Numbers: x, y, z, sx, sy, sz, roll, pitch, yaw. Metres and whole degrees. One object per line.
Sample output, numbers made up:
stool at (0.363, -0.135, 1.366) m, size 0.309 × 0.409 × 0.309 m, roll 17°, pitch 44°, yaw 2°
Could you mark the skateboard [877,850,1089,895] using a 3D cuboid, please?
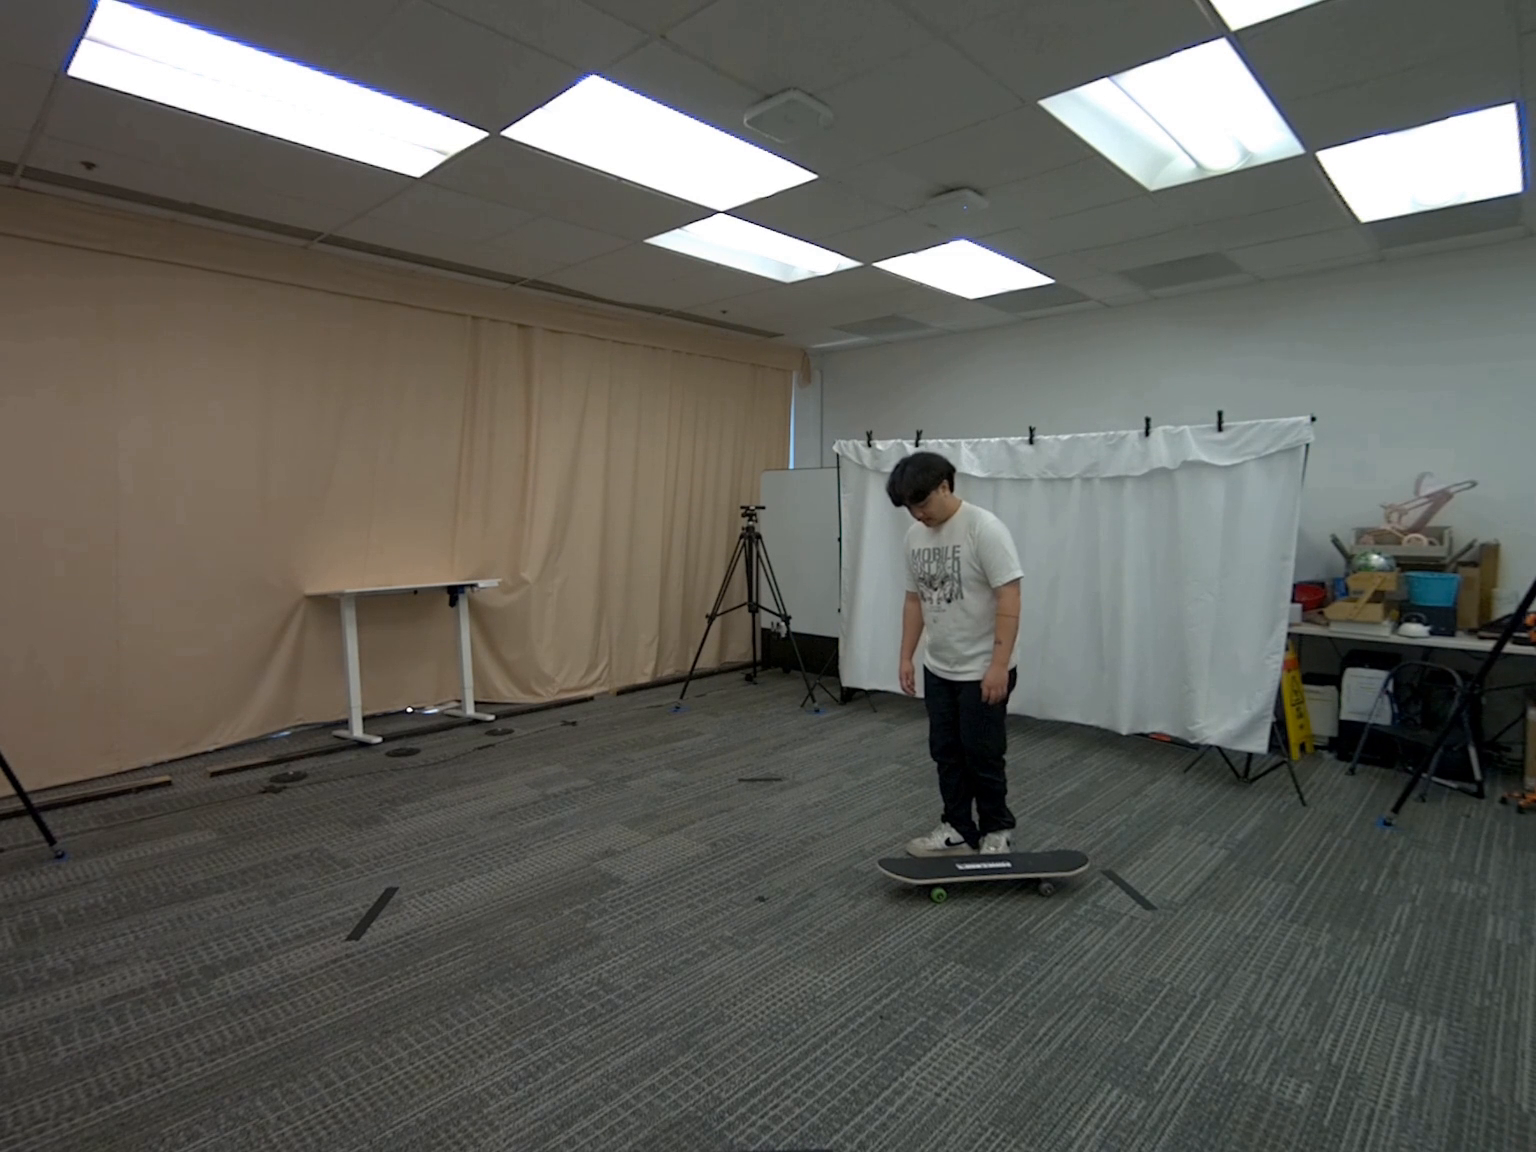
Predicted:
skateboard at (0.778, 1.077, 3.048) m, size 0.780 × 0.110 × 0.195 m, roll 0°, pitch 4°, yaw -7°
